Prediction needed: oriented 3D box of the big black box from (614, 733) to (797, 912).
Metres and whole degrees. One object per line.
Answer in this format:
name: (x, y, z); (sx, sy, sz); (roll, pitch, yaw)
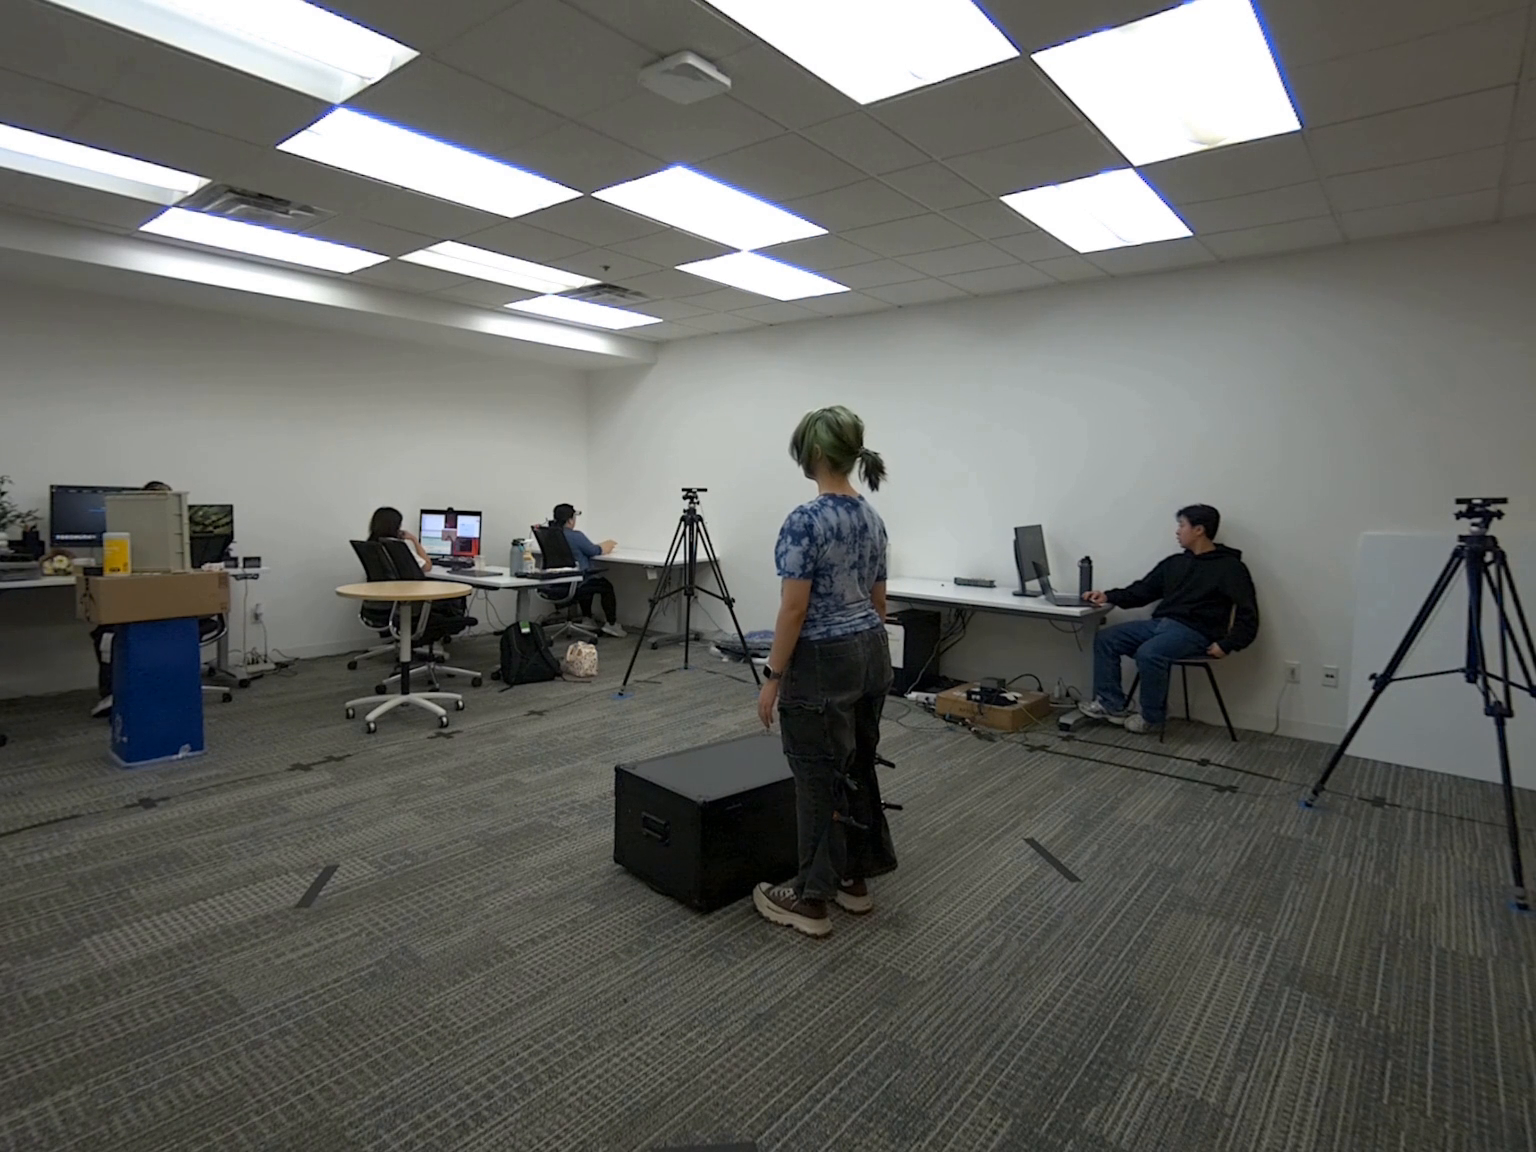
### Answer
big black box: (-0.104, 0.874, 3.194); (0.836, 0.395, 0.539); (-5, 7, -43)
